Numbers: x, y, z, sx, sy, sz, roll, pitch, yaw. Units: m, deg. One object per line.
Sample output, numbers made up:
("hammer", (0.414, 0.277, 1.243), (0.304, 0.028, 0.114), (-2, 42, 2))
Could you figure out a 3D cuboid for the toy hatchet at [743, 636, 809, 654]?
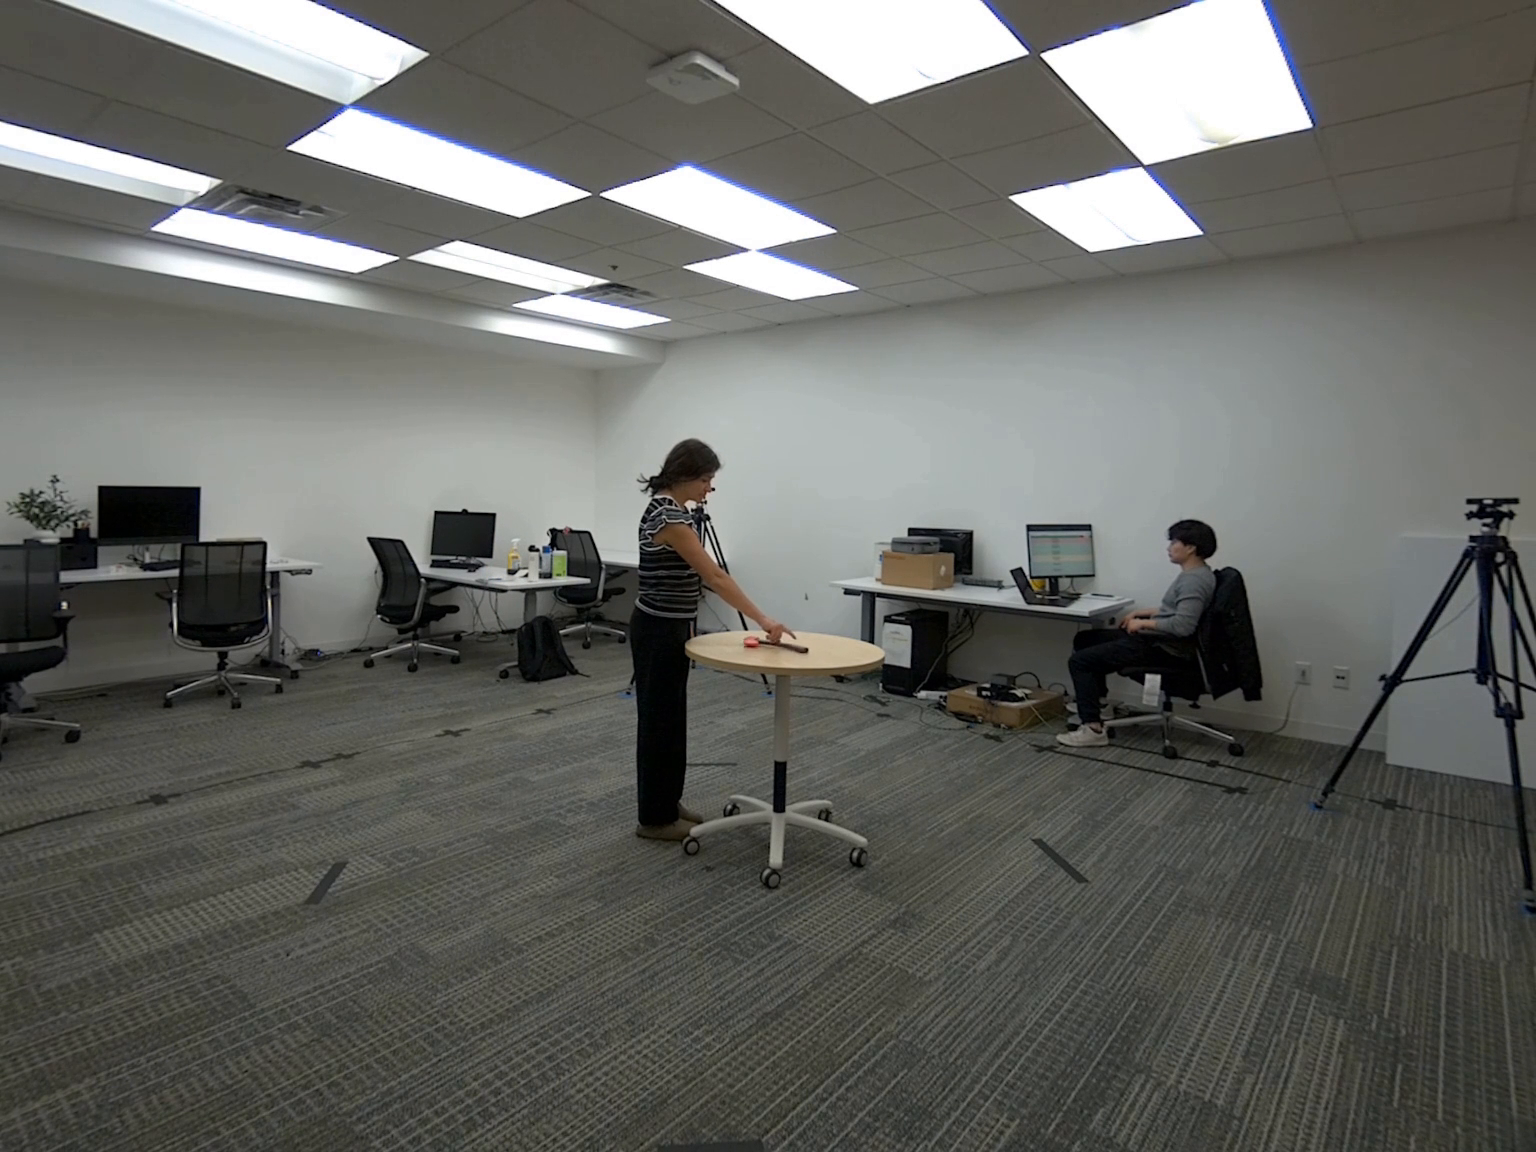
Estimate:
("toy hatchet", (0.013, 0.261, 3.241), (0.280, 0.029, 0.127), (9, 6, 43))
